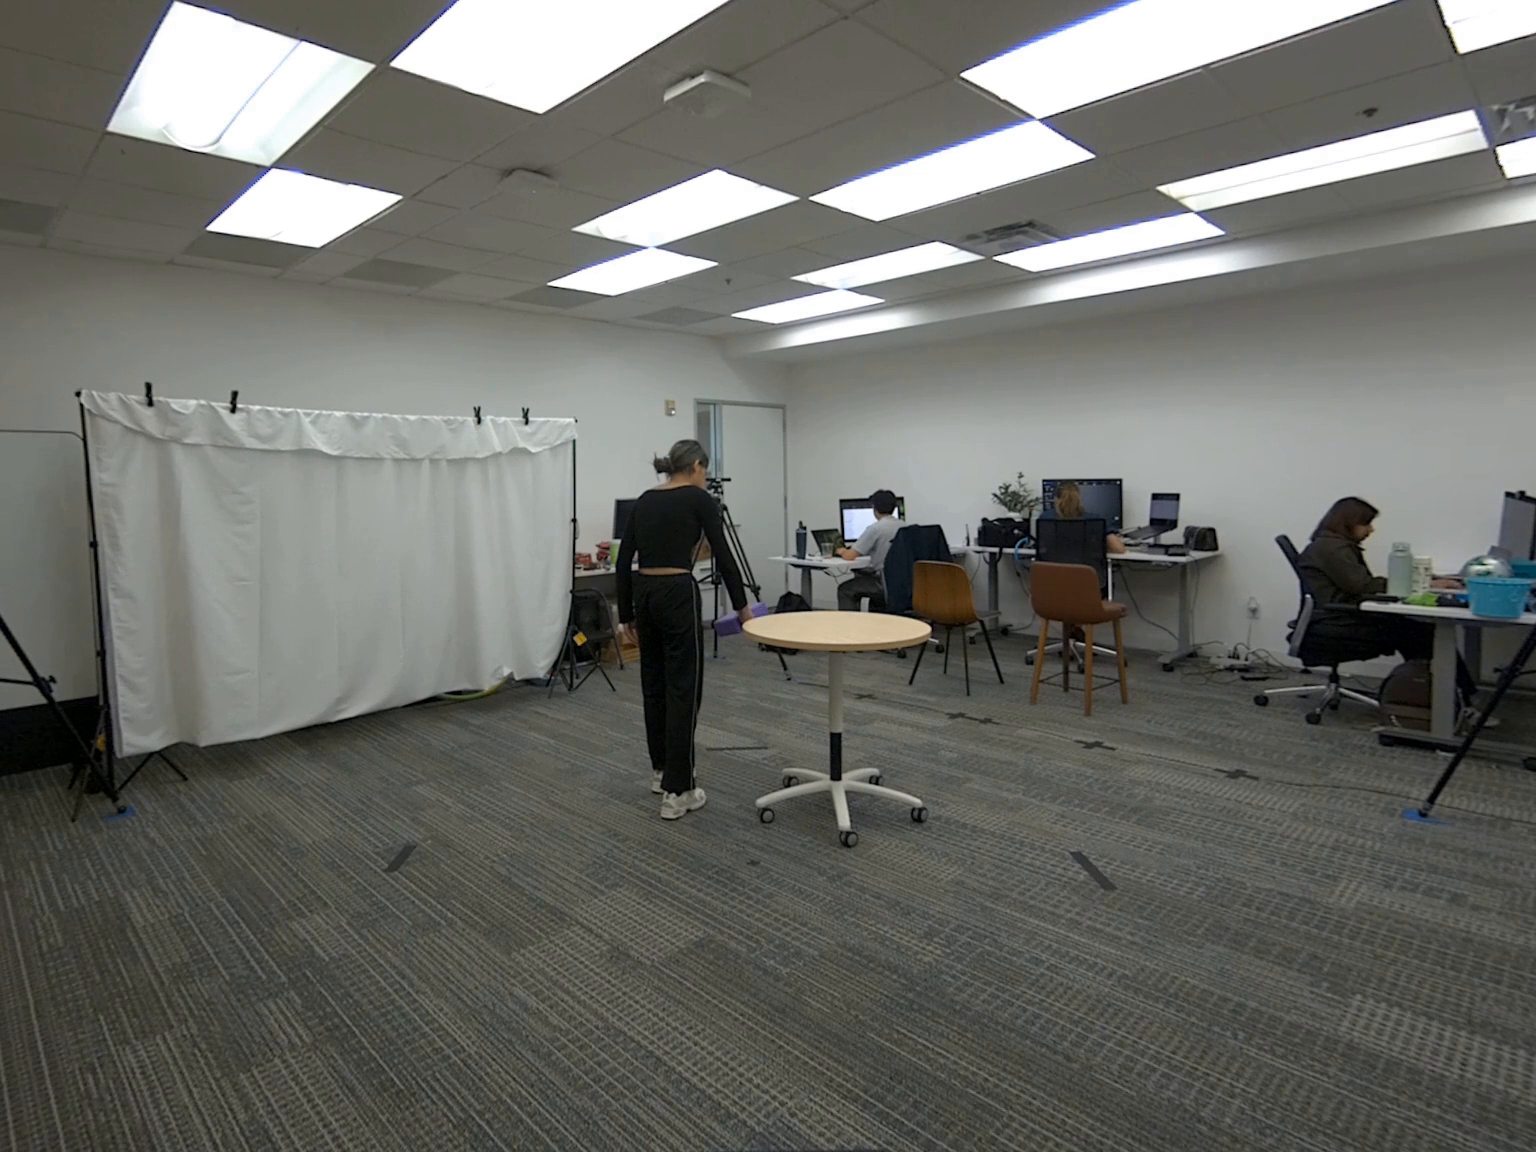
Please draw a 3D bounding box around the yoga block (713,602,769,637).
[{"bbox_3d":[-0.140,0.197,3.982,0.152,0.076,0.225,-12,8,40],"label":"yoga block"}]
